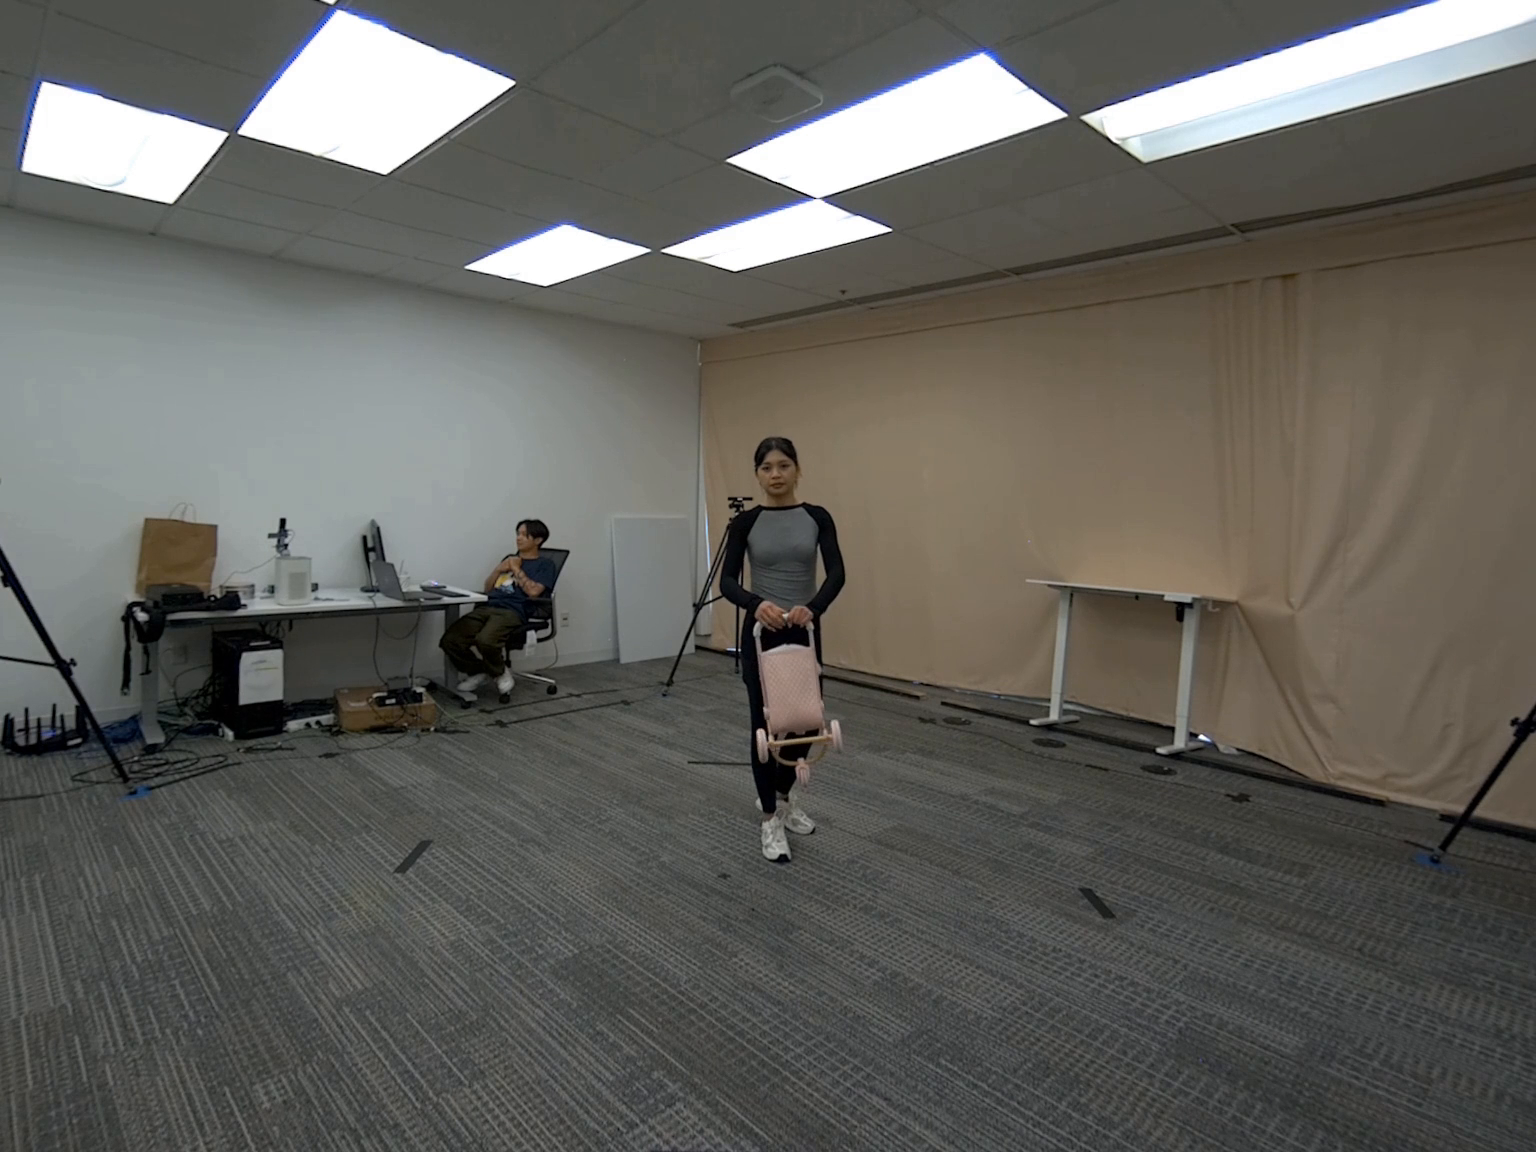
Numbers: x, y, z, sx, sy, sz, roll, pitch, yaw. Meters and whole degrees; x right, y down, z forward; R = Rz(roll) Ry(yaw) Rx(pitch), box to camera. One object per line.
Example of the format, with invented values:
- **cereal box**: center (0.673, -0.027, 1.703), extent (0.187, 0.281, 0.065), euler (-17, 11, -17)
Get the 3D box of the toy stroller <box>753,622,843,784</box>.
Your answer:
- **toy stroller**: center (0.088, 0.448, 2.935), extent (0.282, 0.545, 0.334), euler (-10, -24, 5)
